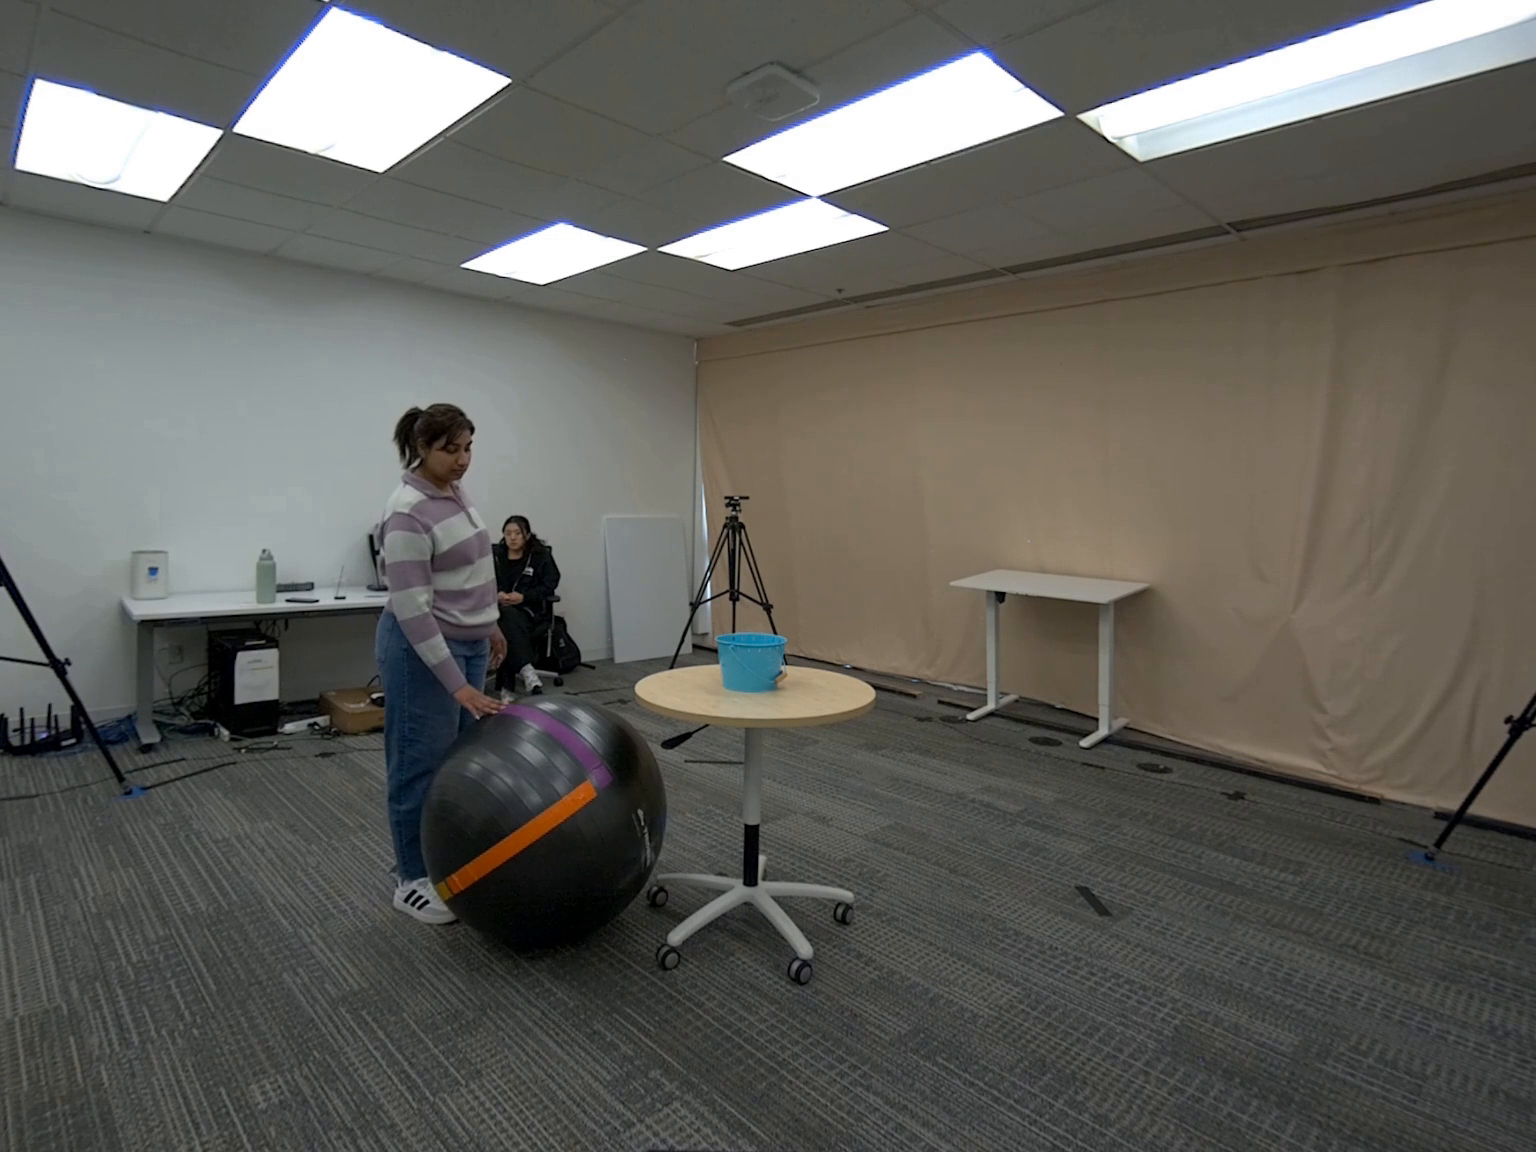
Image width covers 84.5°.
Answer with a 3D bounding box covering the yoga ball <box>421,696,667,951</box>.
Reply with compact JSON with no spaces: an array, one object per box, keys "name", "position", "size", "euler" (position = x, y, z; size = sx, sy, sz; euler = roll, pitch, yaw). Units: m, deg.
[{"name":"yoga ball","position":[-0.702,0.764,2.668],"size":[0.757,0.756,0.761],"euler":[1,4,-1]}]
